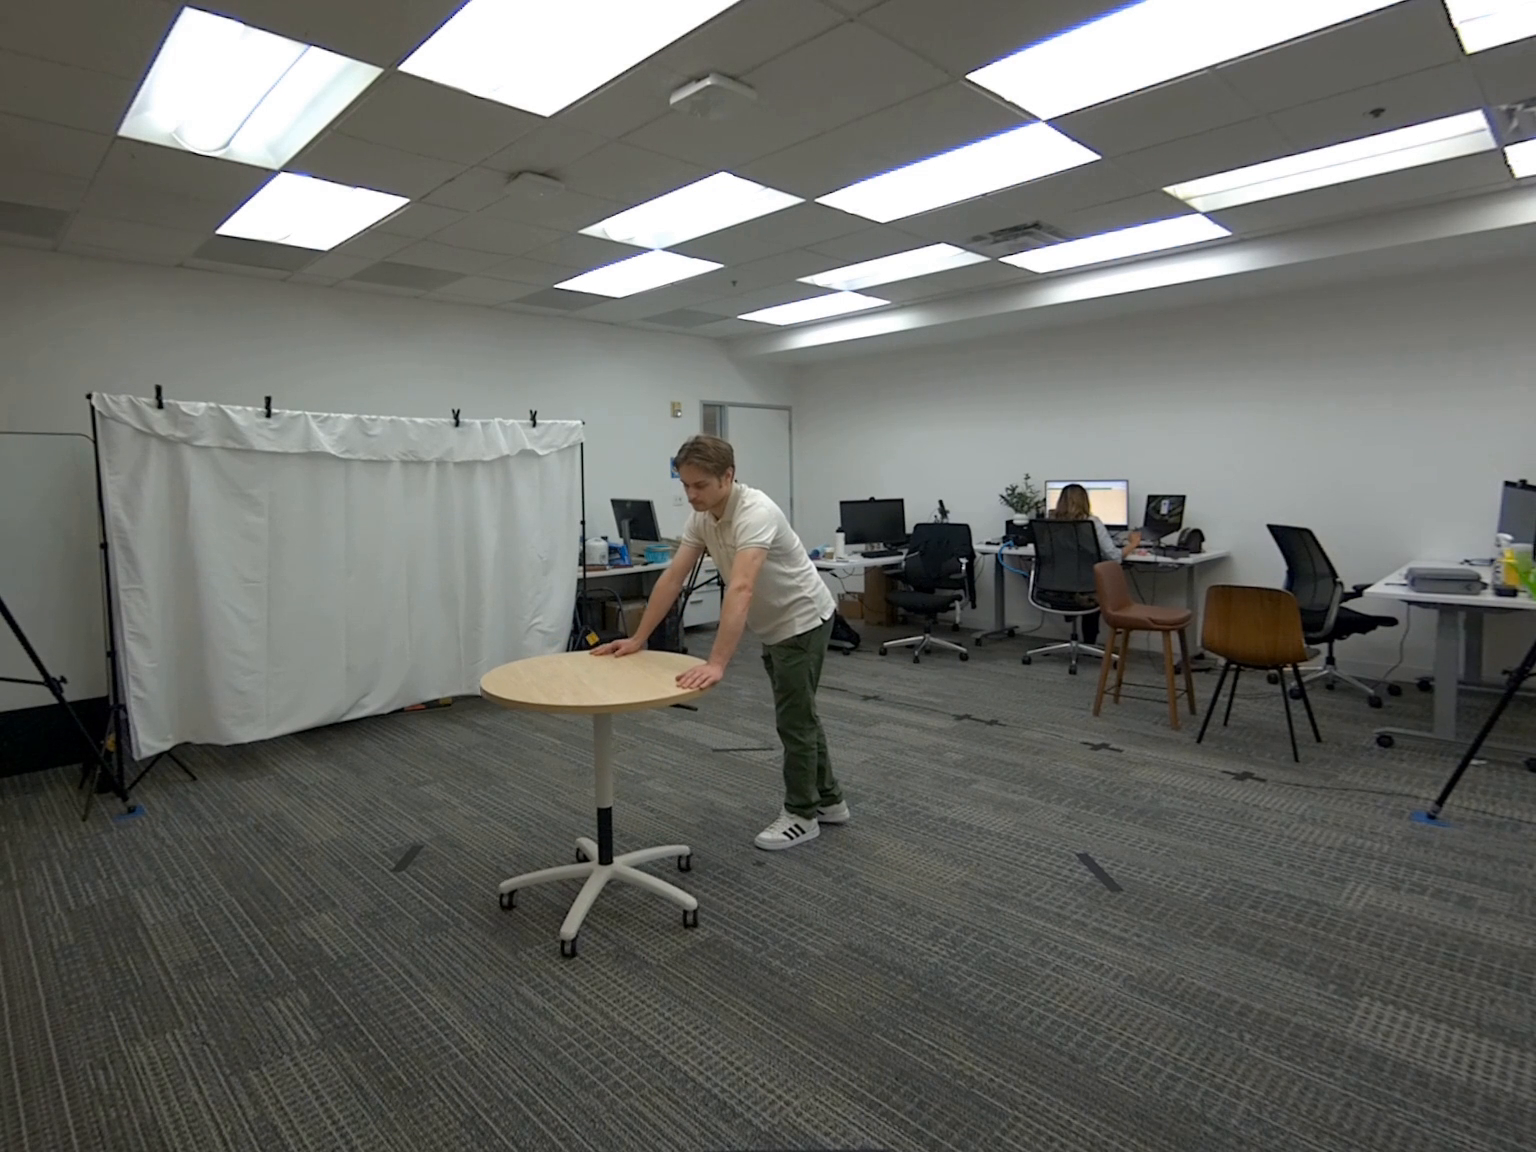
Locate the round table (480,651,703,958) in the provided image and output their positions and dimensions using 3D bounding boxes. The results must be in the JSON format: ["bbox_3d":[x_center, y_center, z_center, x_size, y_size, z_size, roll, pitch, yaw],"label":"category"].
[{"bbox_3d":[-0.540,0.706,2.817,0.763,0.790,0.768,-1,5,-2],"label":"round table"}]
